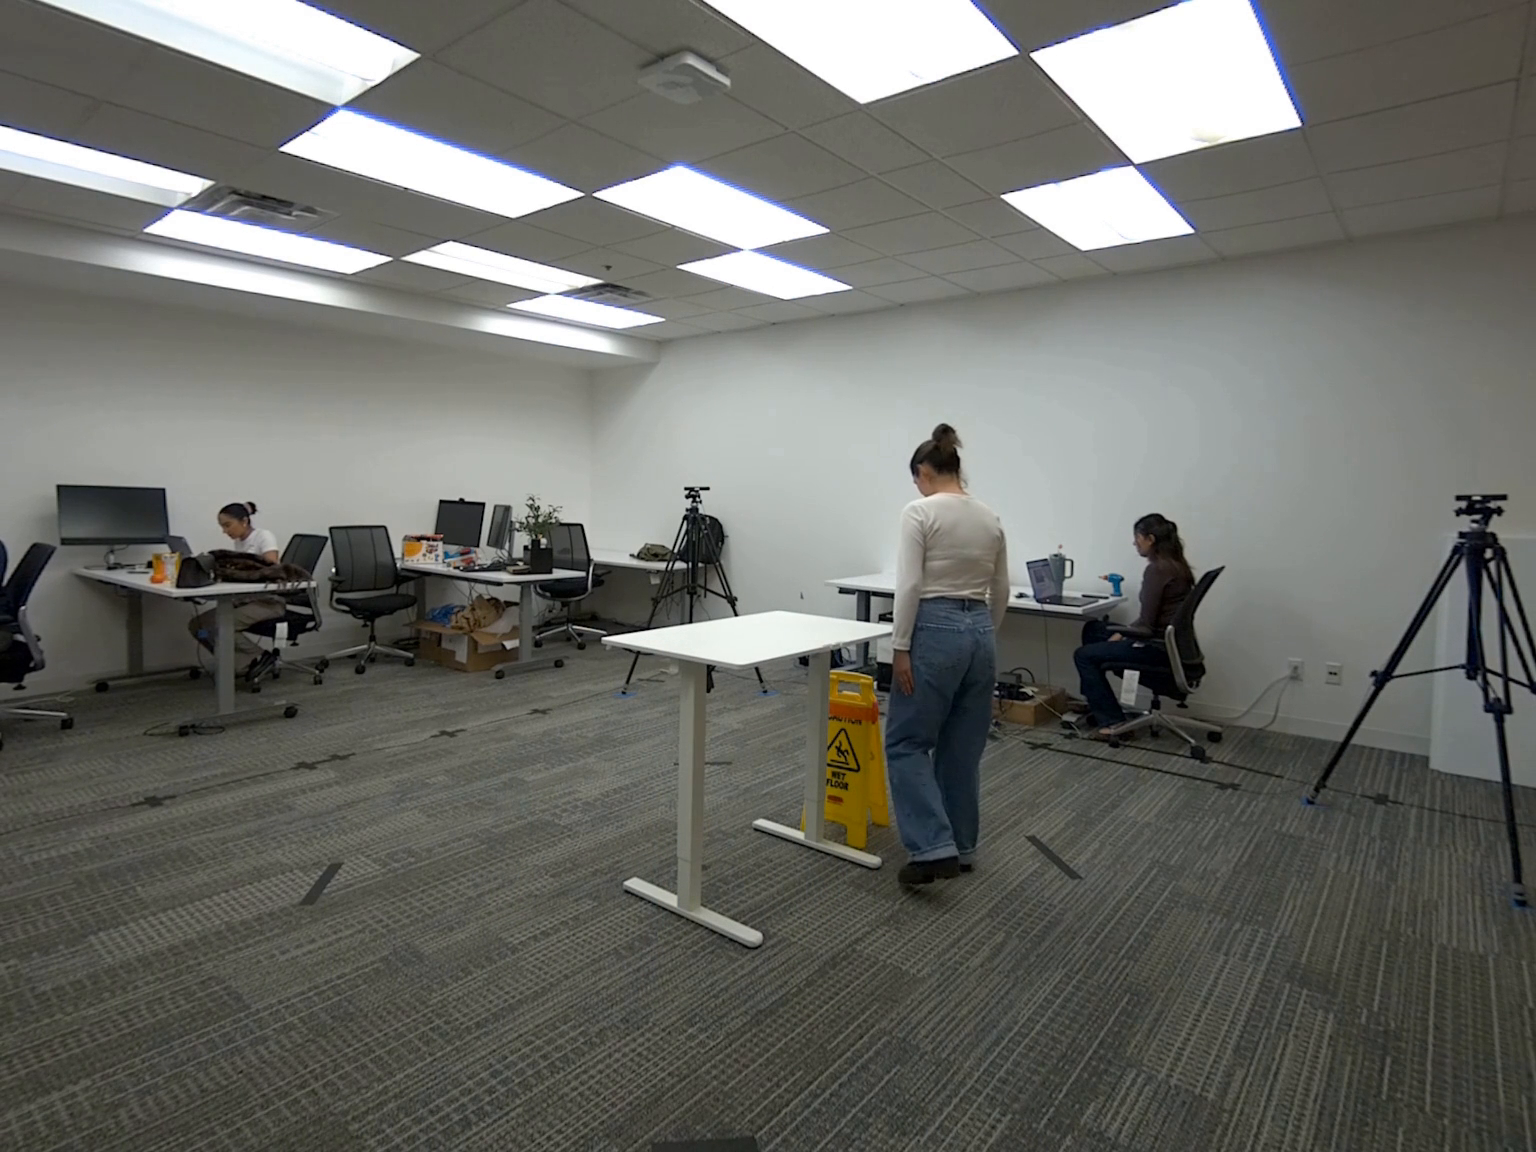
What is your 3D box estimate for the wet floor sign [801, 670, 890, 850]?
[{"bbox_3d":[0.321,0.715,3.478,0.291,0.644,0.282,4,3,30],"label":"wet floor sign"}]
